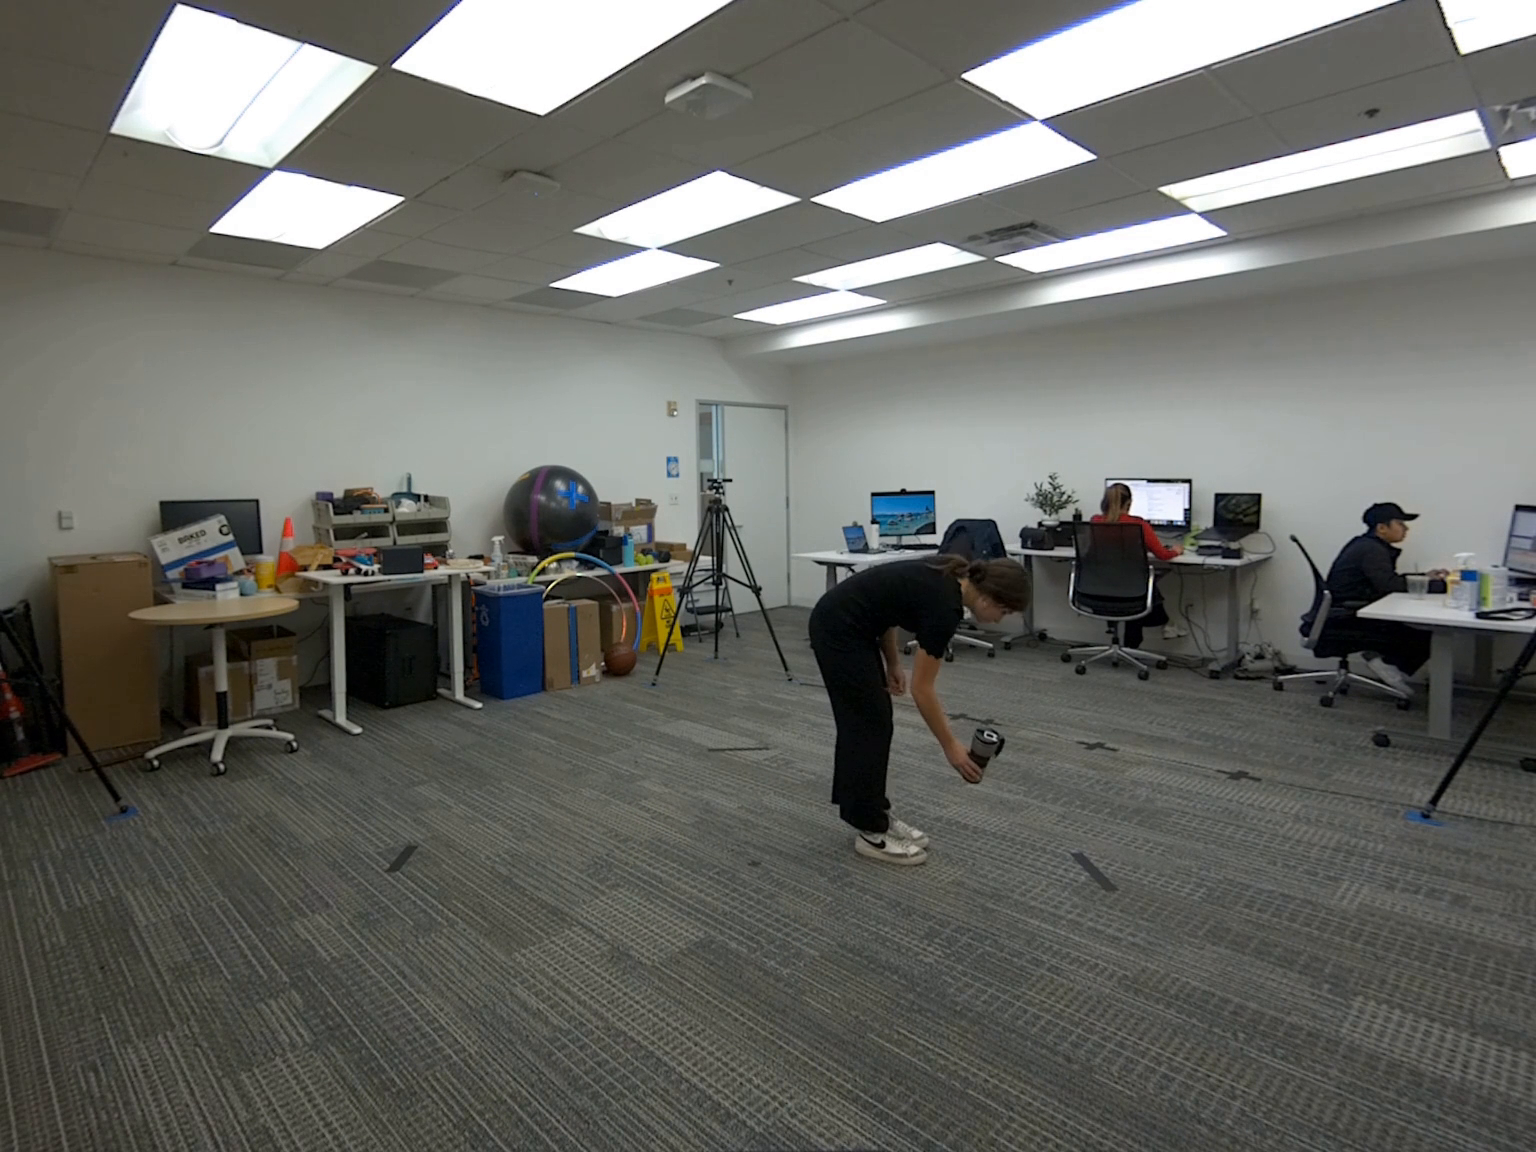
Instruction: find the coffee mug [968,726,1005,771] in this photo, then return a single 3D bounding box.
[{"bbox_3d":[0.755,0.634,3.028,0.120,0.199,0.091,-6,30,-23],"label":"coffee mug"}]
